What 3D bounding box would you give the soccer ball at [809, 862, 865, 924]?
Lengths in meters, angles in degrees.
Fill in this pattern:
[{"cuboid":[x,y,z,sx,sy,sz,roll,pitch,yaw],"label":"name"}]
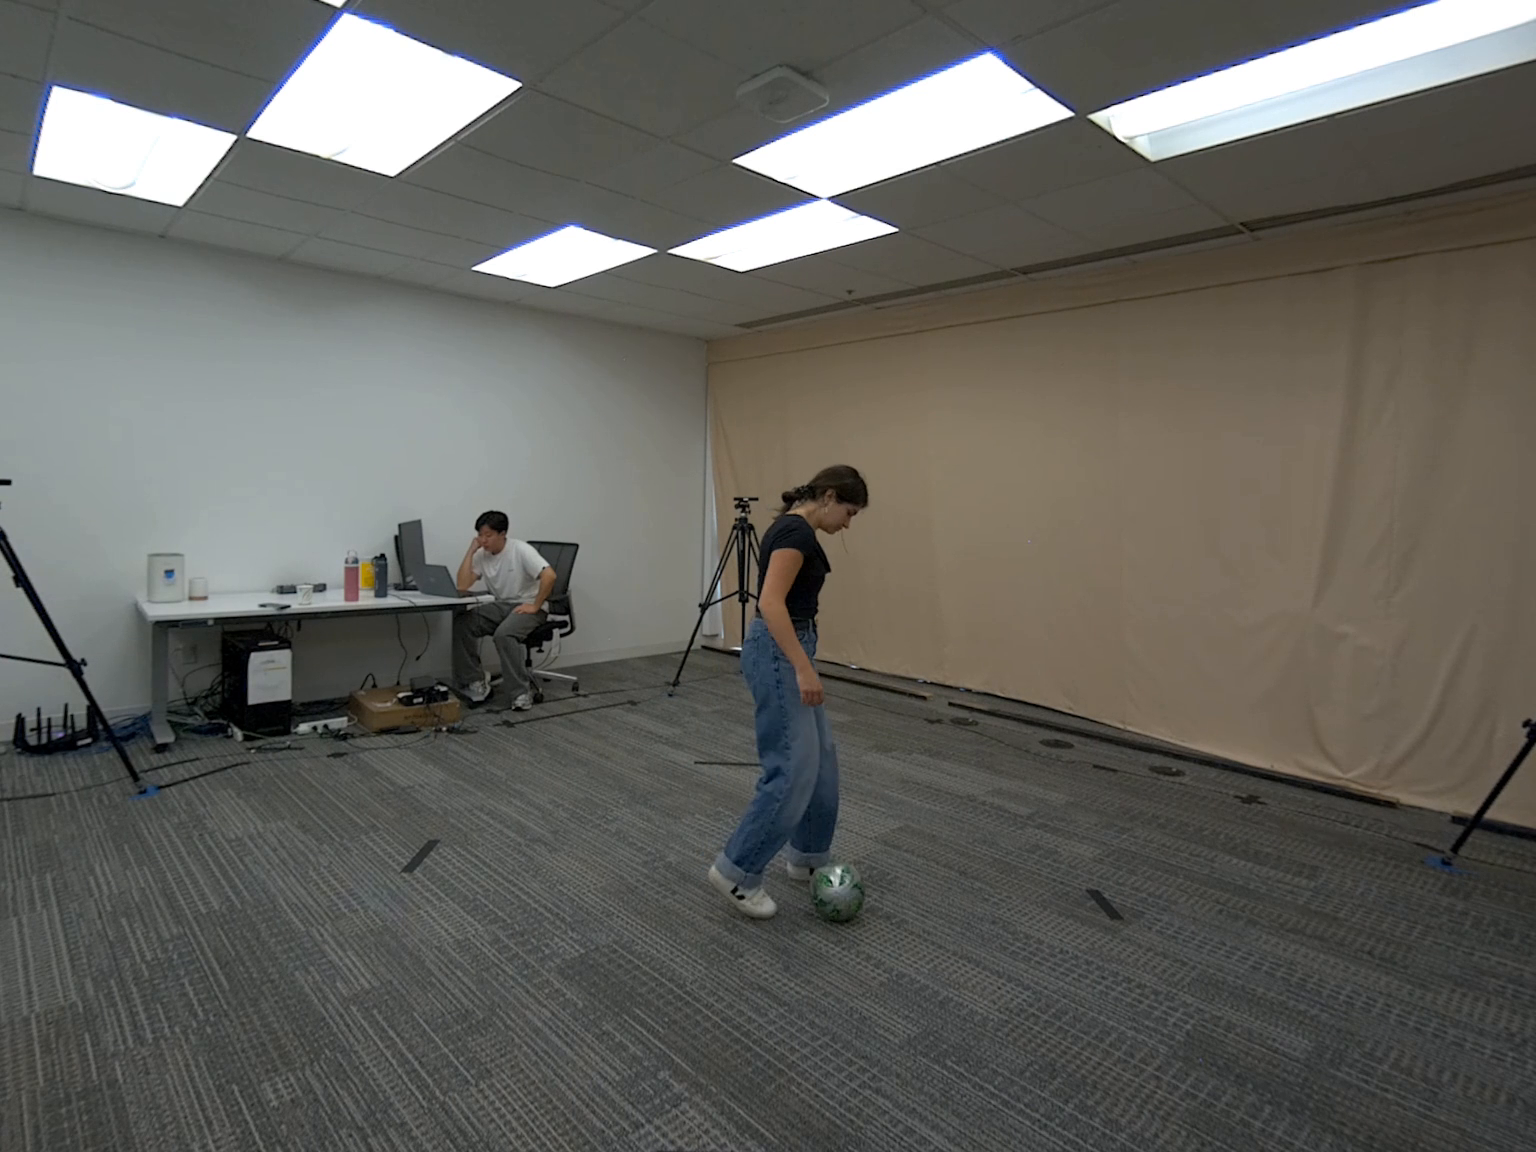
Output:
[{"cuboid":[0.217,1.054,2.799,0.187,0.187,0.188,1,4,-1],"label":"soccer ball"}]
